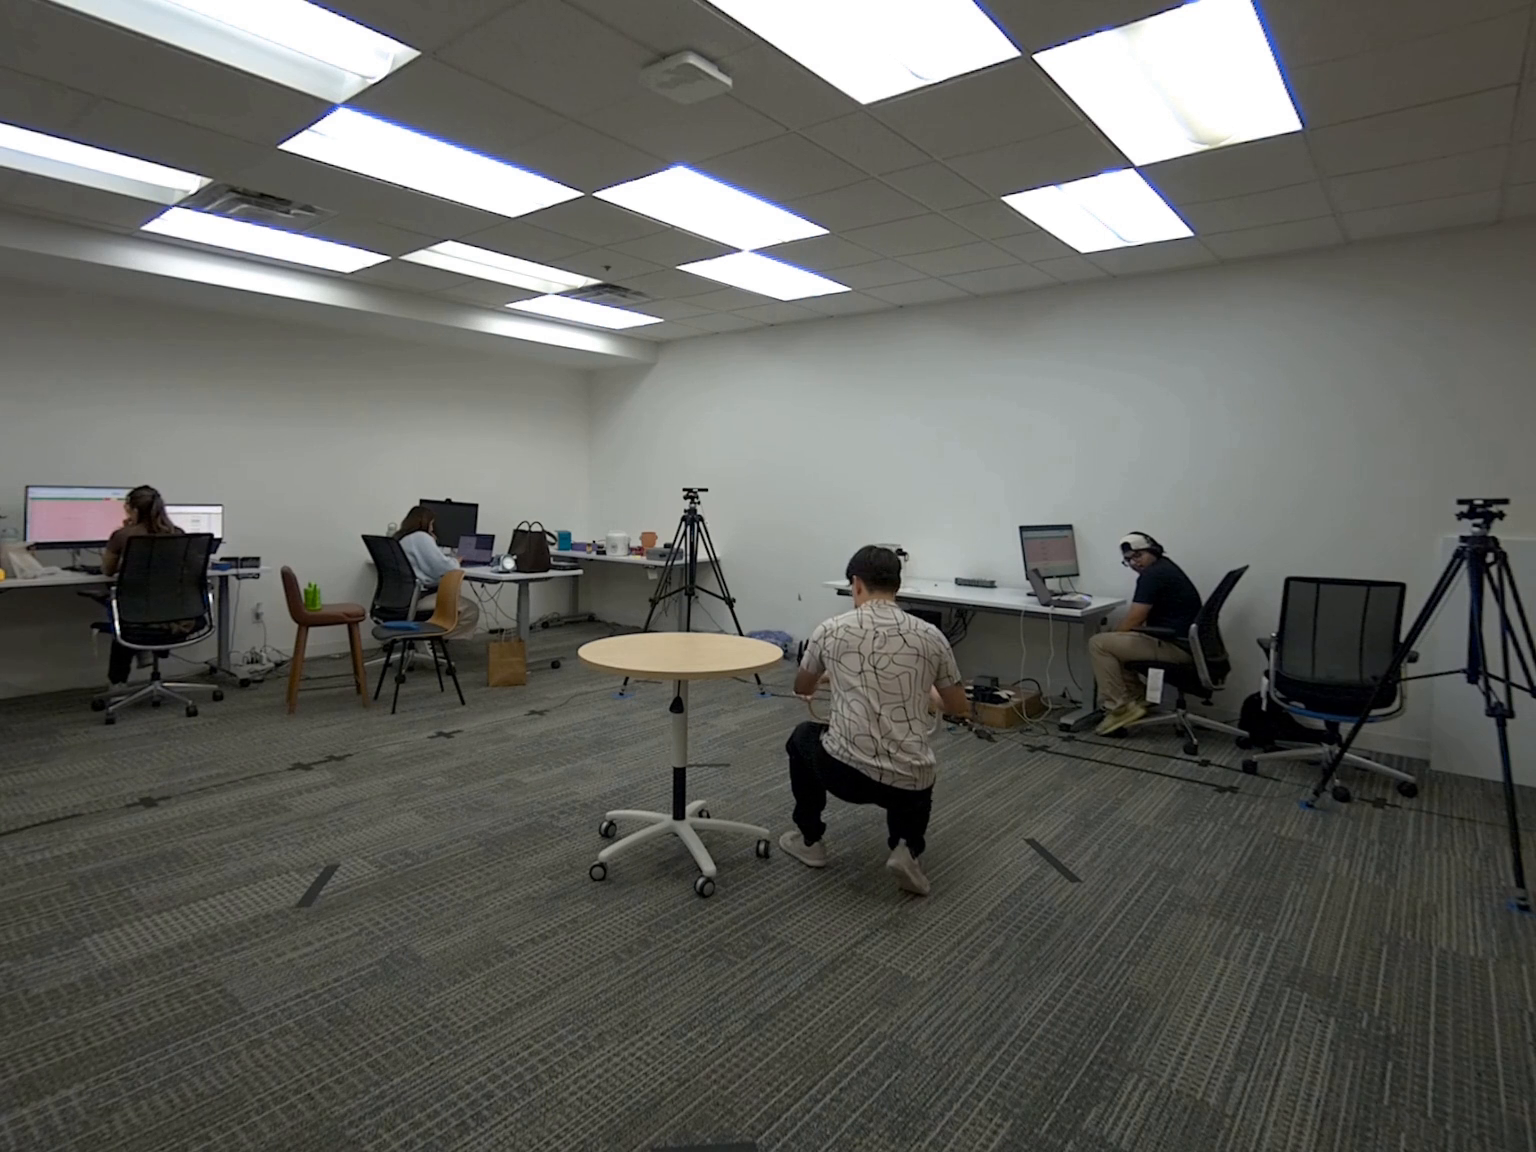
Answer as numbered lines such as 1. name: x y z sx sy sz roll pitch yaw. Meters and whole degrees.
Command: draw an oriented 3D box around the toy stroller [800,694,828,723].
1. toy stroller: 0.386 0.517 3.486 0.331 0.279 0.556 -3 14 -45
